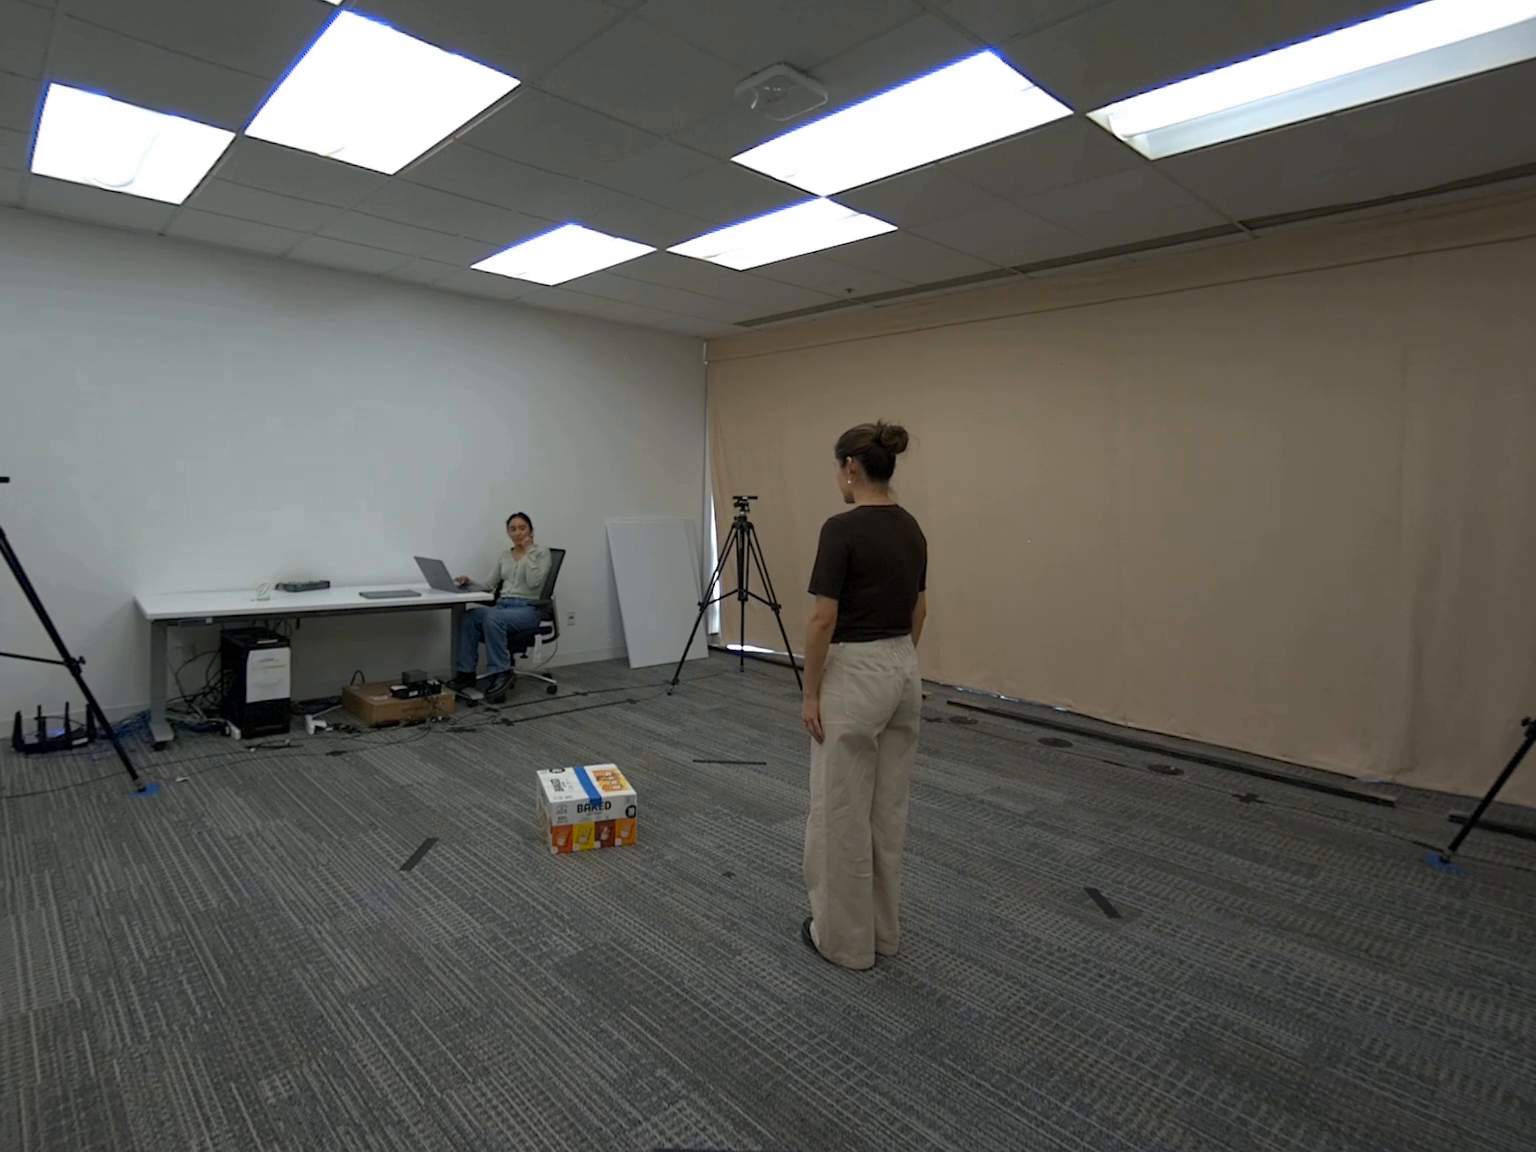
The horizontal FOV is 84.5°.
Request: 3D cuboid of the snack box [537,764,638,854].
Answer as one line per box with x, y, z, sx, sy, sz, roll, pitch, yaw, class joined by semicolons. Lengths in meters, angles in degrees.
-0.769;0.954;3.483;0.335;0.205;0.413;0;5;-22;snack box
